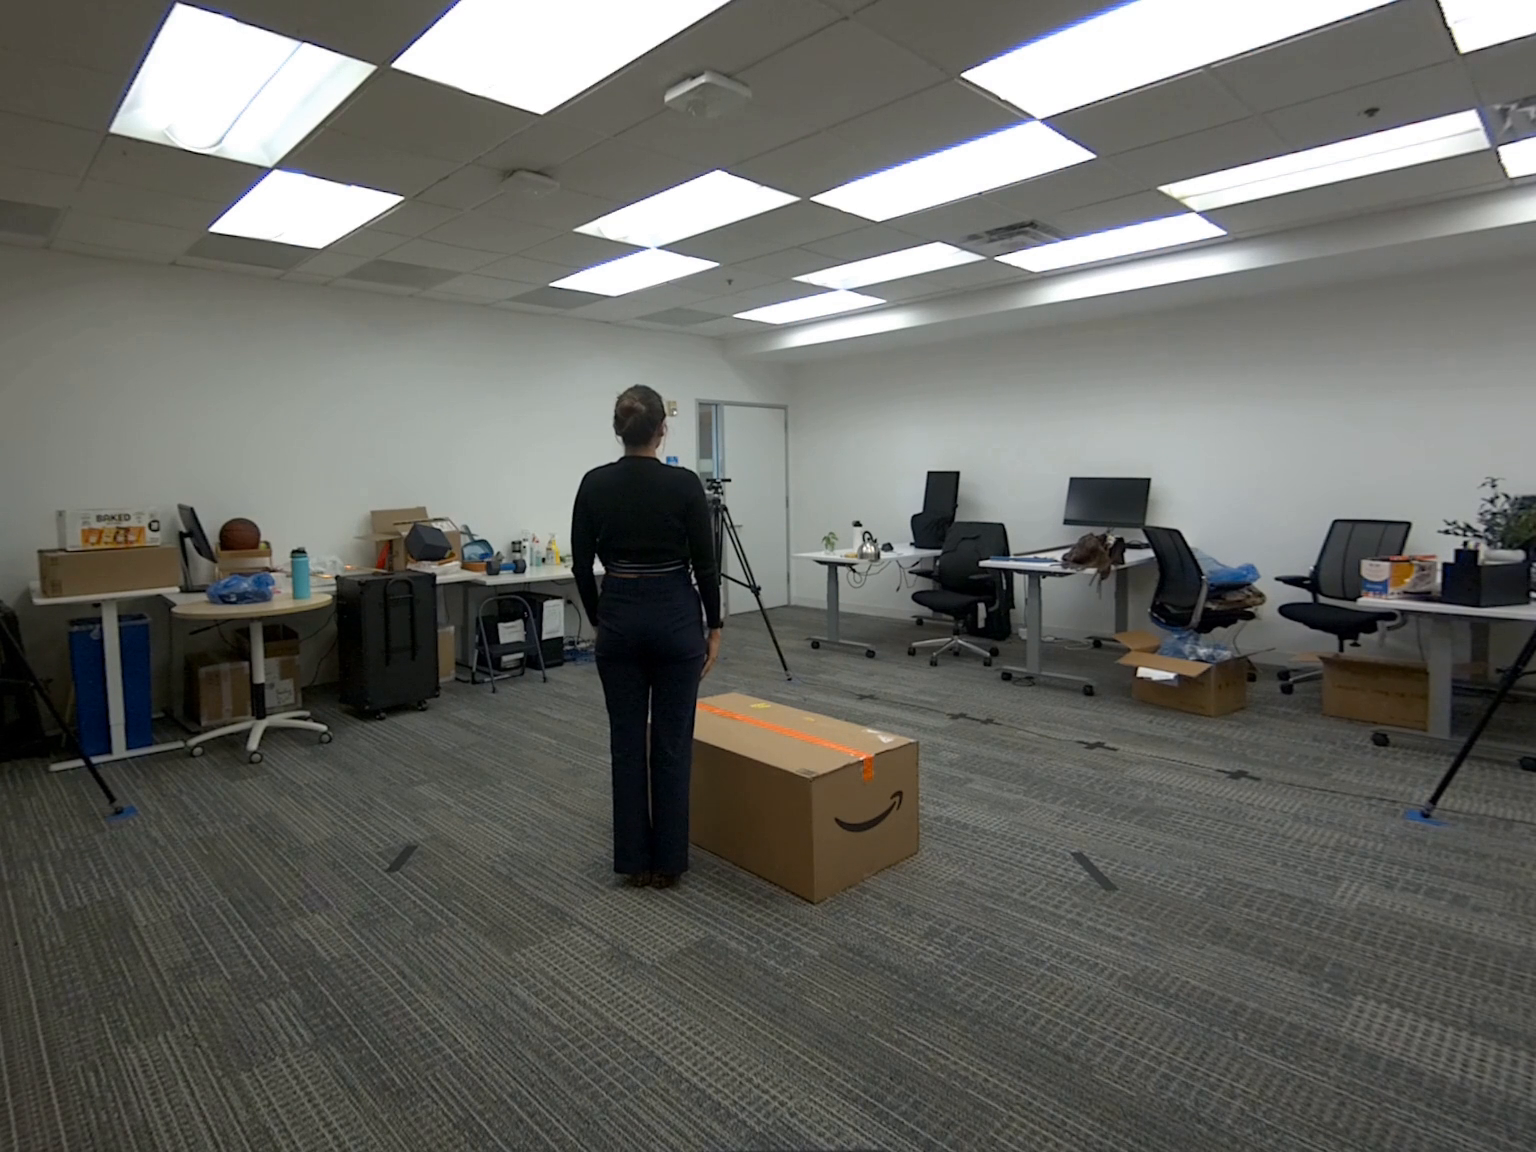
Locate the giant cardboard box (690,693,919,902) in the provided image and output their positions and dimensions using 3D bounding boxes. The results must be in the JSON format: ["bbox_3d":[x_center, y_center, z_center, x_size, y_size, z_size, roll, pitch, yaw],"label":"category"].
[{"bbox_3d":[0.005,0.802,3.358,0.563,0.424,1.058,-7,8,-42],"label":"giant cardboard box"}]
